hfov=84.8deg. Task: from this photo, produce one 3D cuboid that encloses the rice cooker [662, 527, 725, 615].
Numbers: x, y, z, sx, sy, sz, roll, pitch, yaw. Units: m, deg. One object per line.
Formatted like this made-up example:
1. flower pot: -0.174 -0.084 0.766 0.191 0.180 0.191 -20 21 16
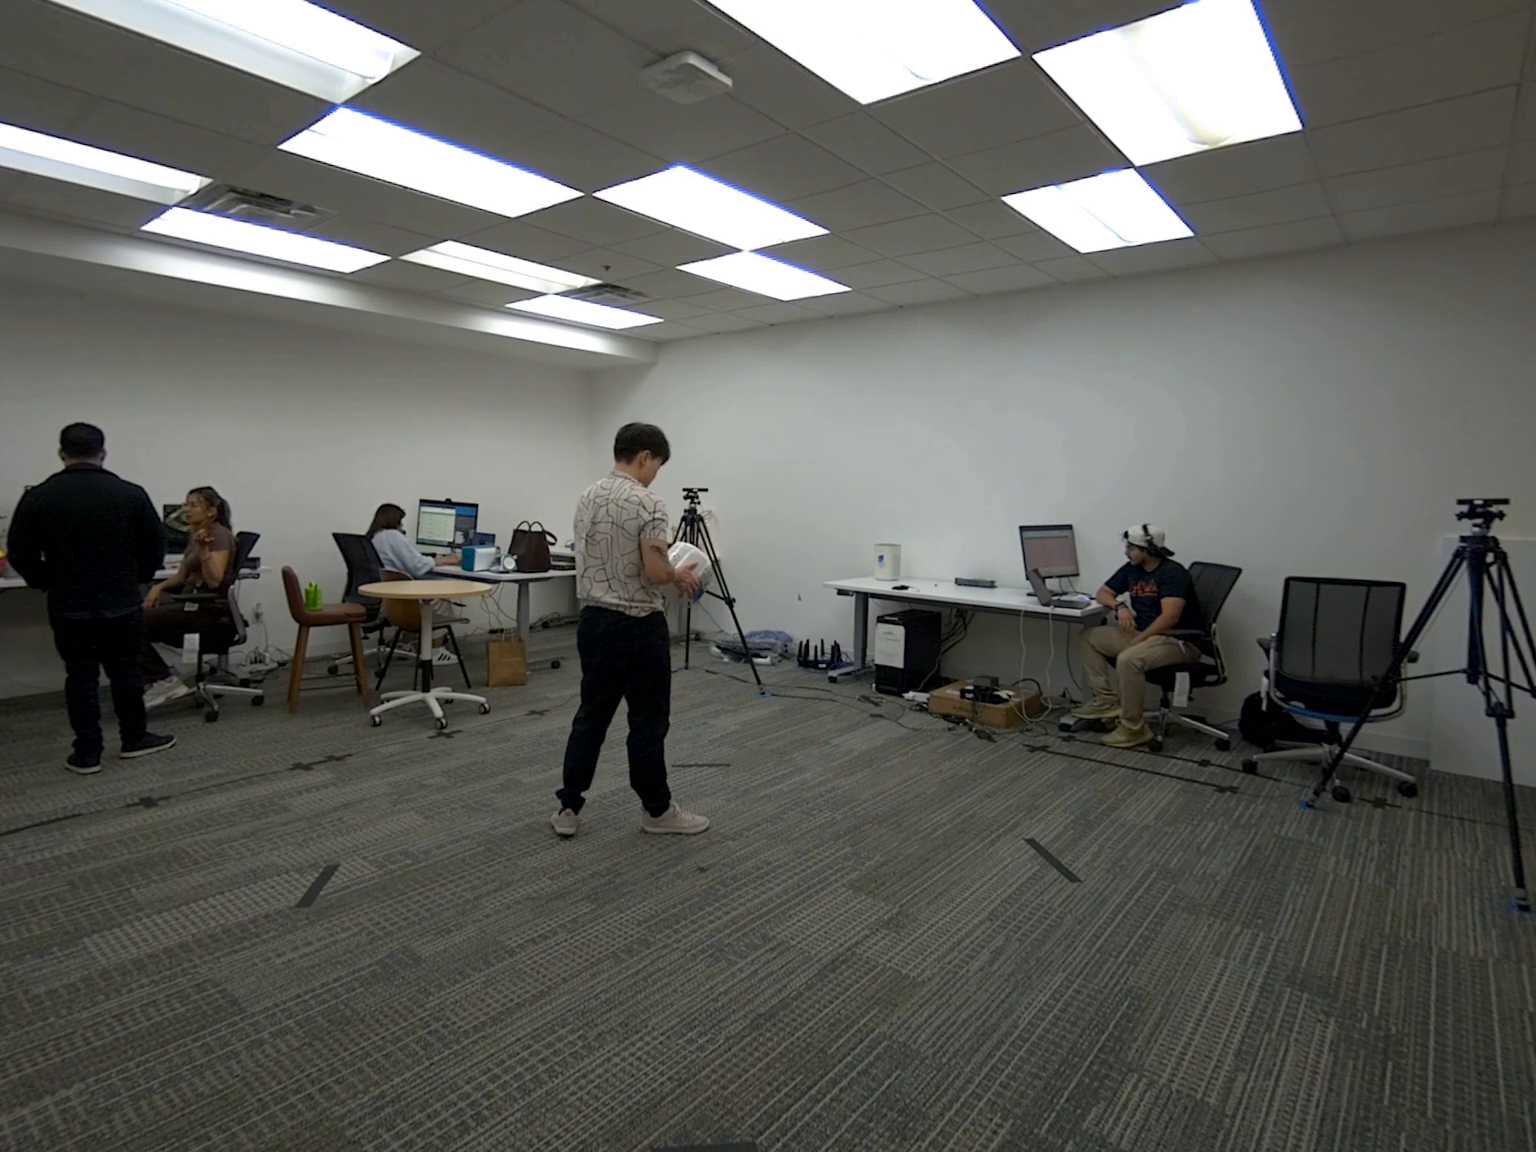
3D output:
1. rice cooker: -0.369 -0.025 3.620 0.228 0.233 0.209 22 -29 30
